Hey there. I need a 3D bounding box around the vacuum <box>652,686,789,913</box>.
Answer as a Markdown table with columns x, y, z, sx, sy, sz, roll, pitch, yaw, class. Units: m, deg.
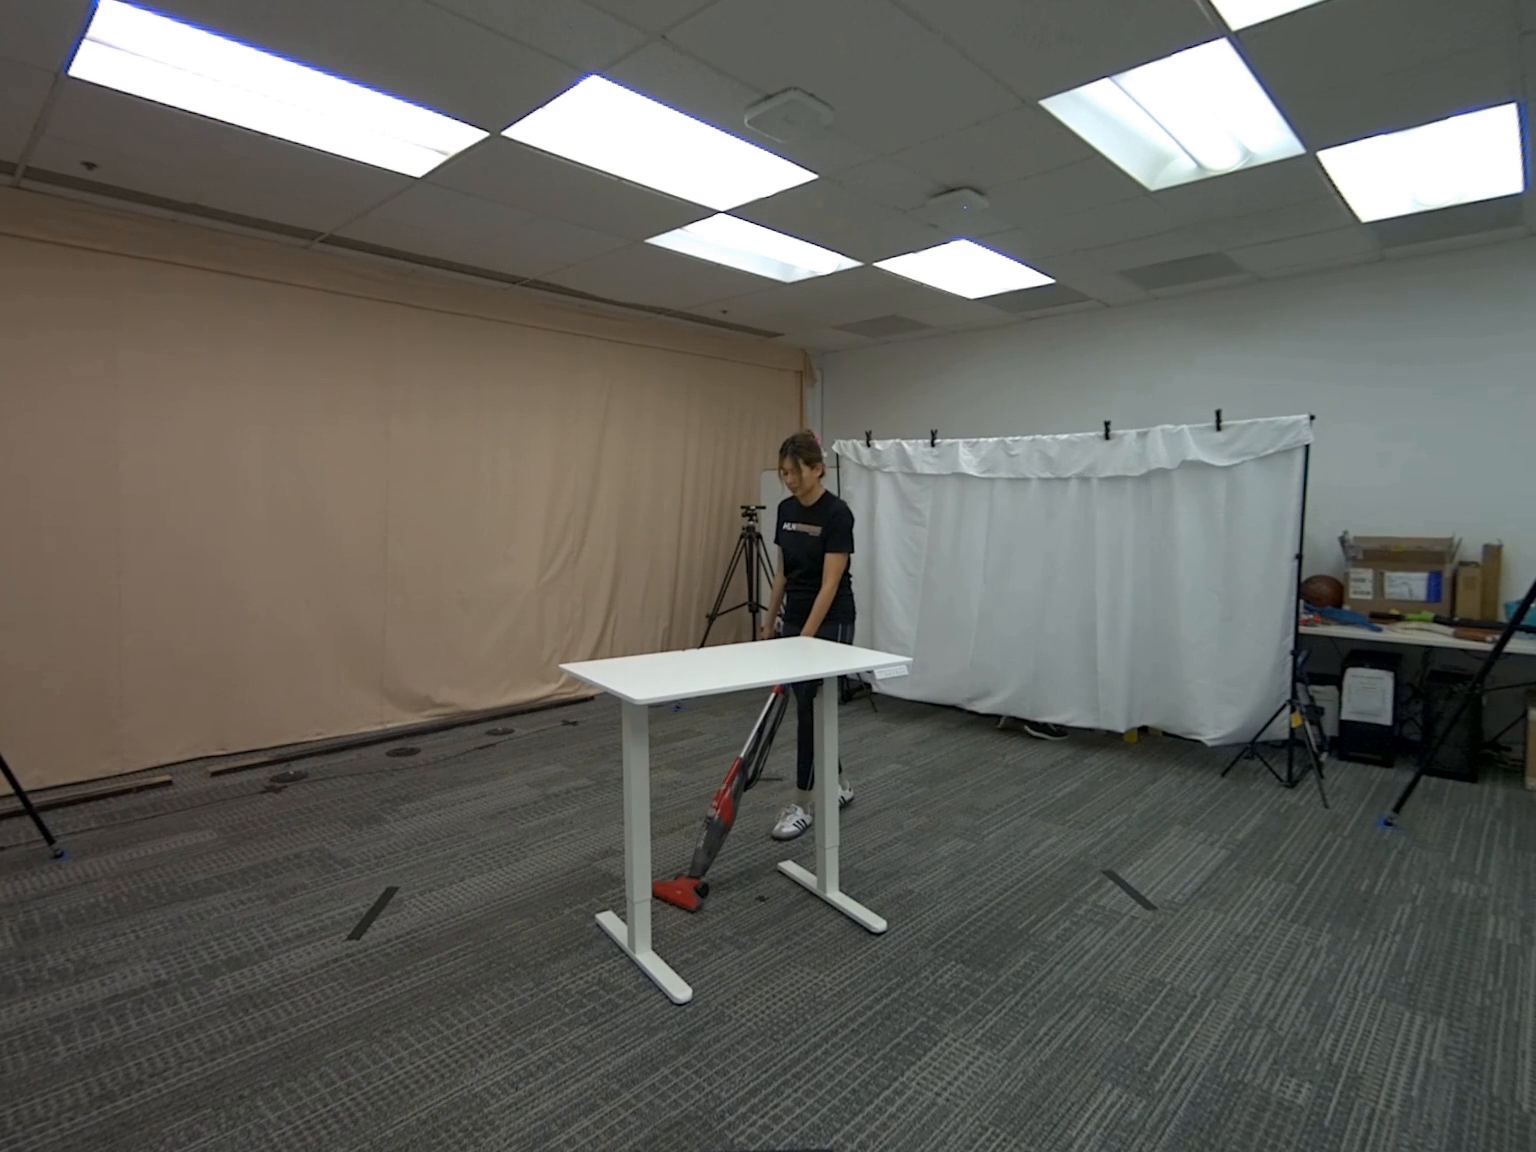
| x | y | z | sx | sy | sz | roll | pitch | yaw | class |
| --- | --- | --- | --- | --- | --- | --- | --- | --- | --- |
| -0.081 | 0.738 | 3.239 | 0.261 | 1.048 | 0.139 | 7 | -38 | 37 | vacuum |
